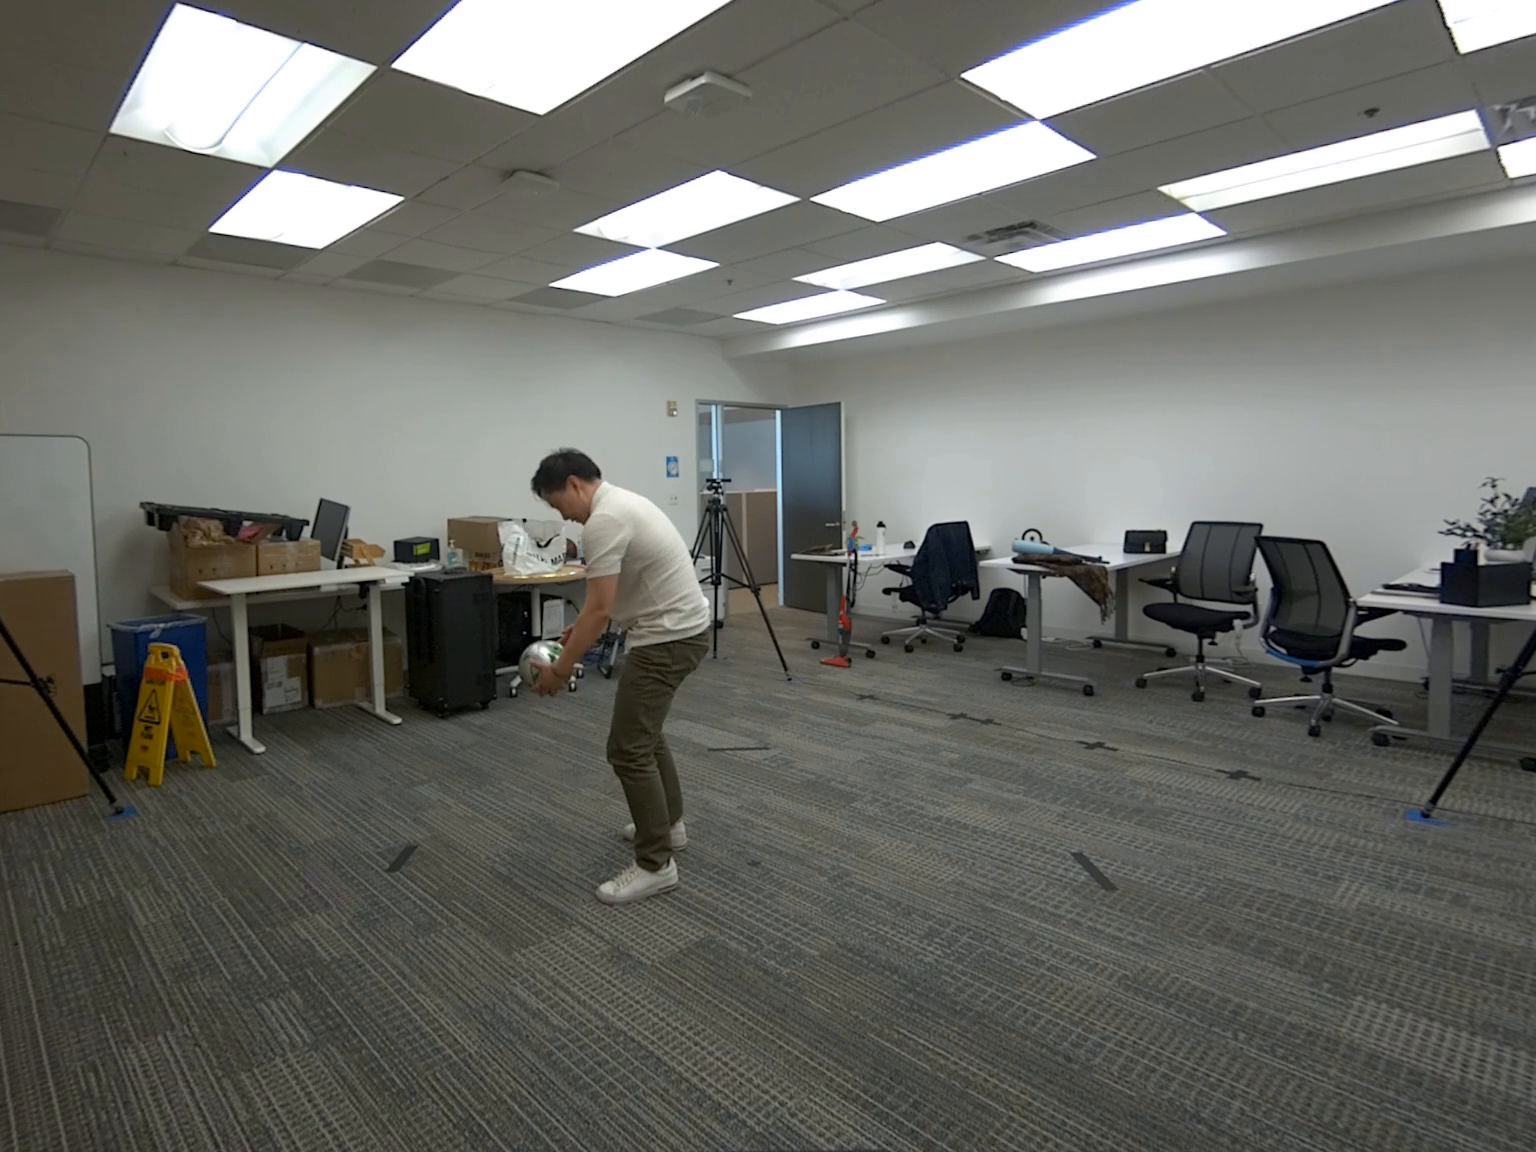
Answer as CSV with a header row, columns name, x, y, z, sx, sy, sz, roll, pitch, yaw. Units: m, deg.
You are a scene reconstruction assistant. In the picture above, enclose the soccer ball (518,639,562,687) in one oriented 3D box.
name,x,y,z,sx,sy,sz,roll,pitch,yaw
soccer ball,-0.768,0.332,2.974,0.187,0.187,0.188,-1,5,-2
